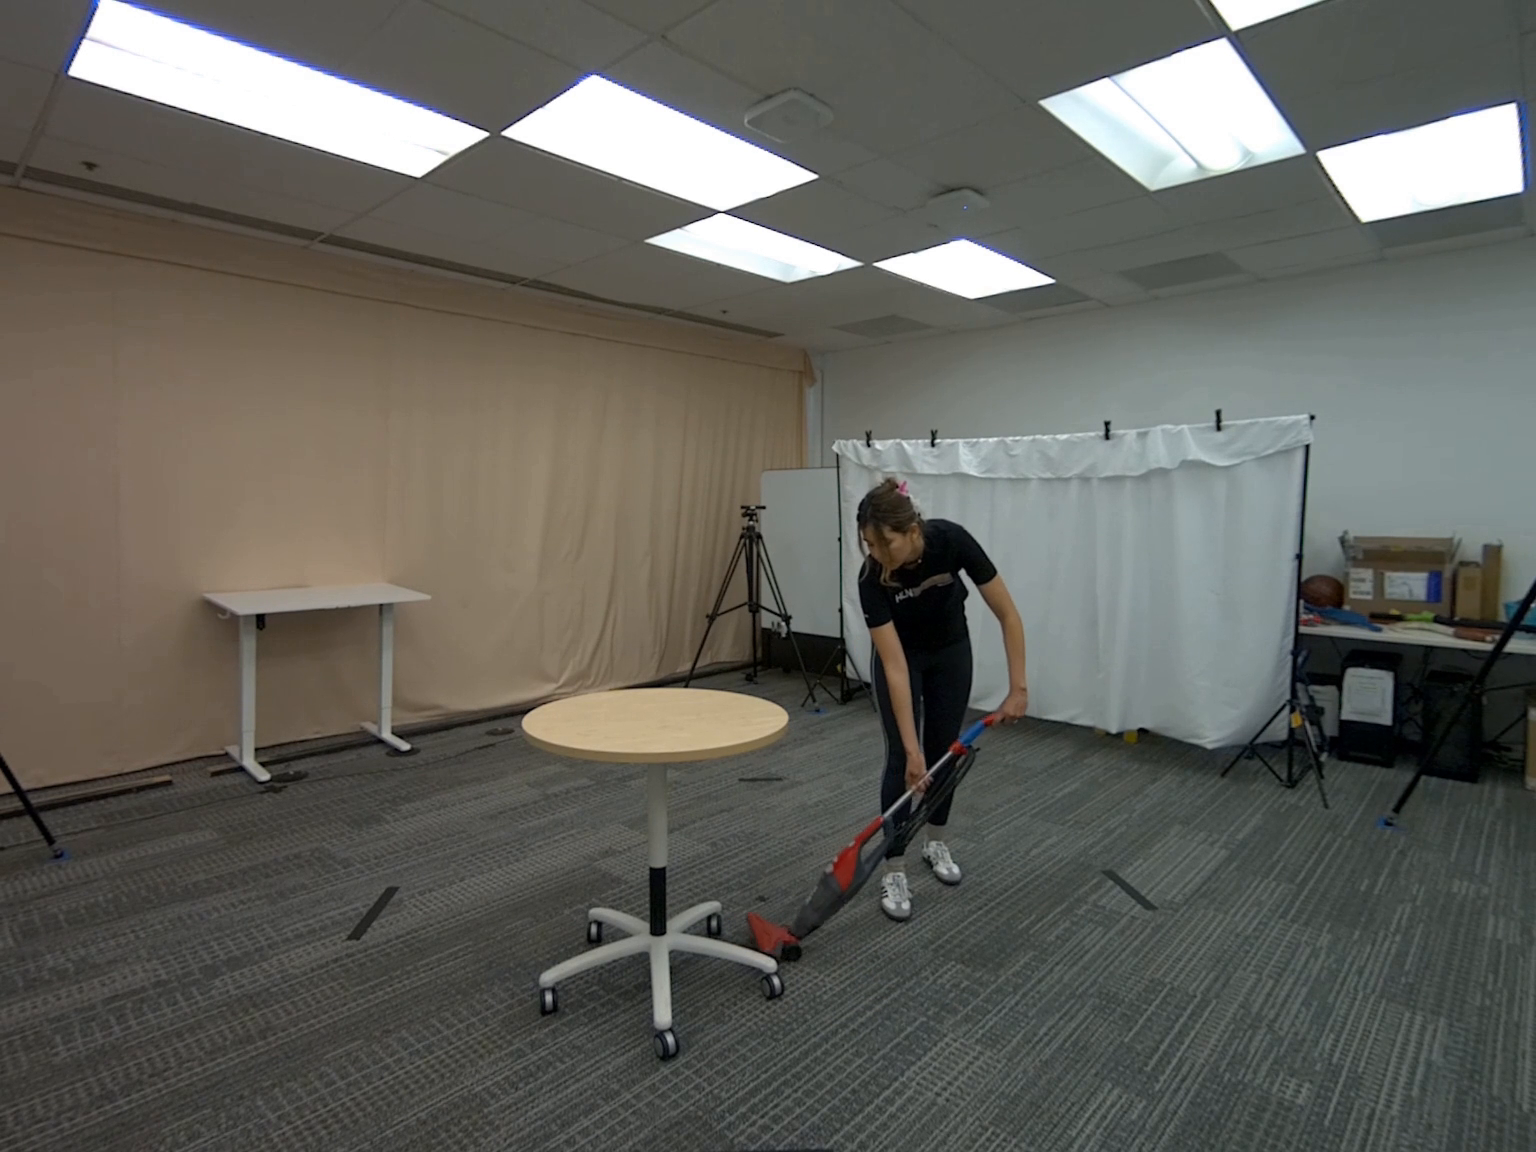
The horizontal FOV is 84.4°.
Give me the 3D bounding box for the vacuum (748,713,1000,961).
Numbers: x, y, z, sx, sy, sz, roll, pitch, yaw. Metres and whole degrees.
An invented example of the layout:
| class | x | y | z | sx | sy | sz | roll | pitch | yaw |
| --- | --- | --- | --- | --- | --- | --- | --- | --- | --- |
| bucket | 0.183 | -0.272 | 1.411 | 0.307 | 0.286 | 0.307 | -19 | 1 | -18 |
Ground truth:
| class | x | y | z | sx | sy | sz | roll | pitch | yaw |
| --- | --- | --- | --- | --- | --- | --- | --- | --- | --- |
| vacuum | 0.406 | 0.808 | 2.670 | 1.046 | 0.143 | 0.255 | -40 | 9 | -6 |
